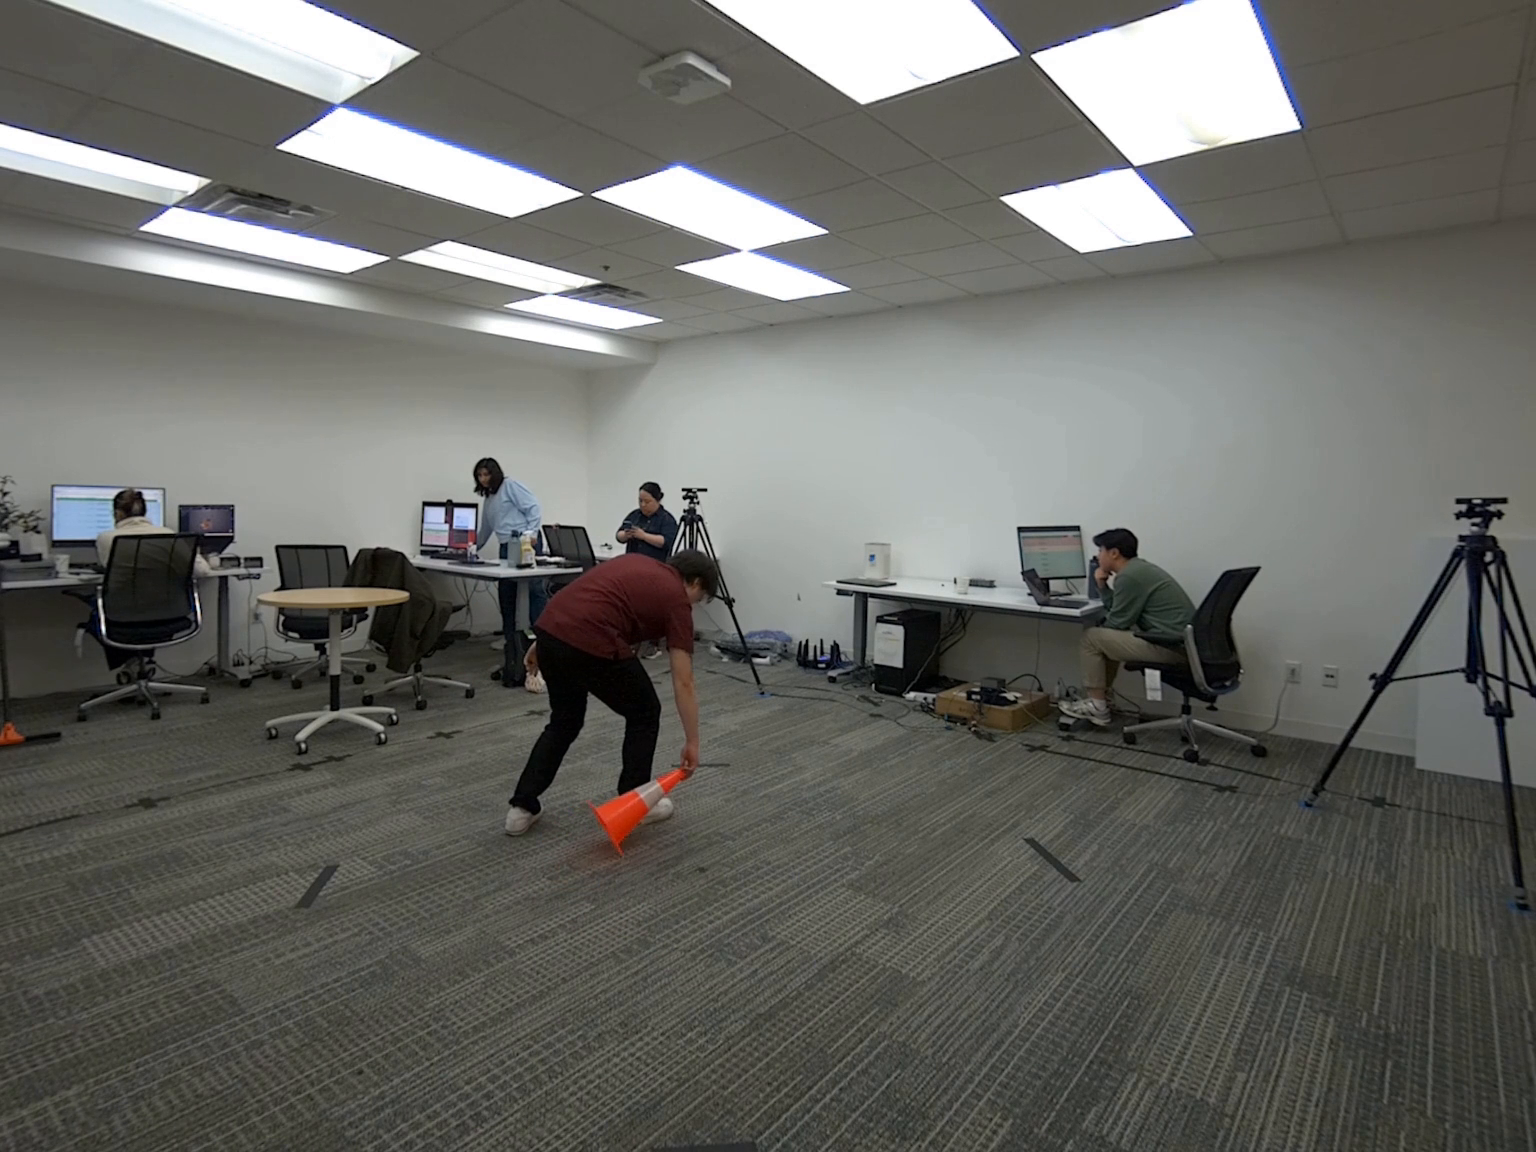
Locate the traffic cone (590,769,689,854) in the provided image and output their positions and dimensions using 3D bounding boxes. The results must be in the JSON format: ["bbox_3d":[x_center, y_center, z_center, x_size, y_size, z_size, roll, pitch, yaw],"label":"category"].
[{"bbox_3d":[-0.487,0.867,3.325,0.380,0.201,0.209,-31,11,-21],"label":"traffic cone"}]
